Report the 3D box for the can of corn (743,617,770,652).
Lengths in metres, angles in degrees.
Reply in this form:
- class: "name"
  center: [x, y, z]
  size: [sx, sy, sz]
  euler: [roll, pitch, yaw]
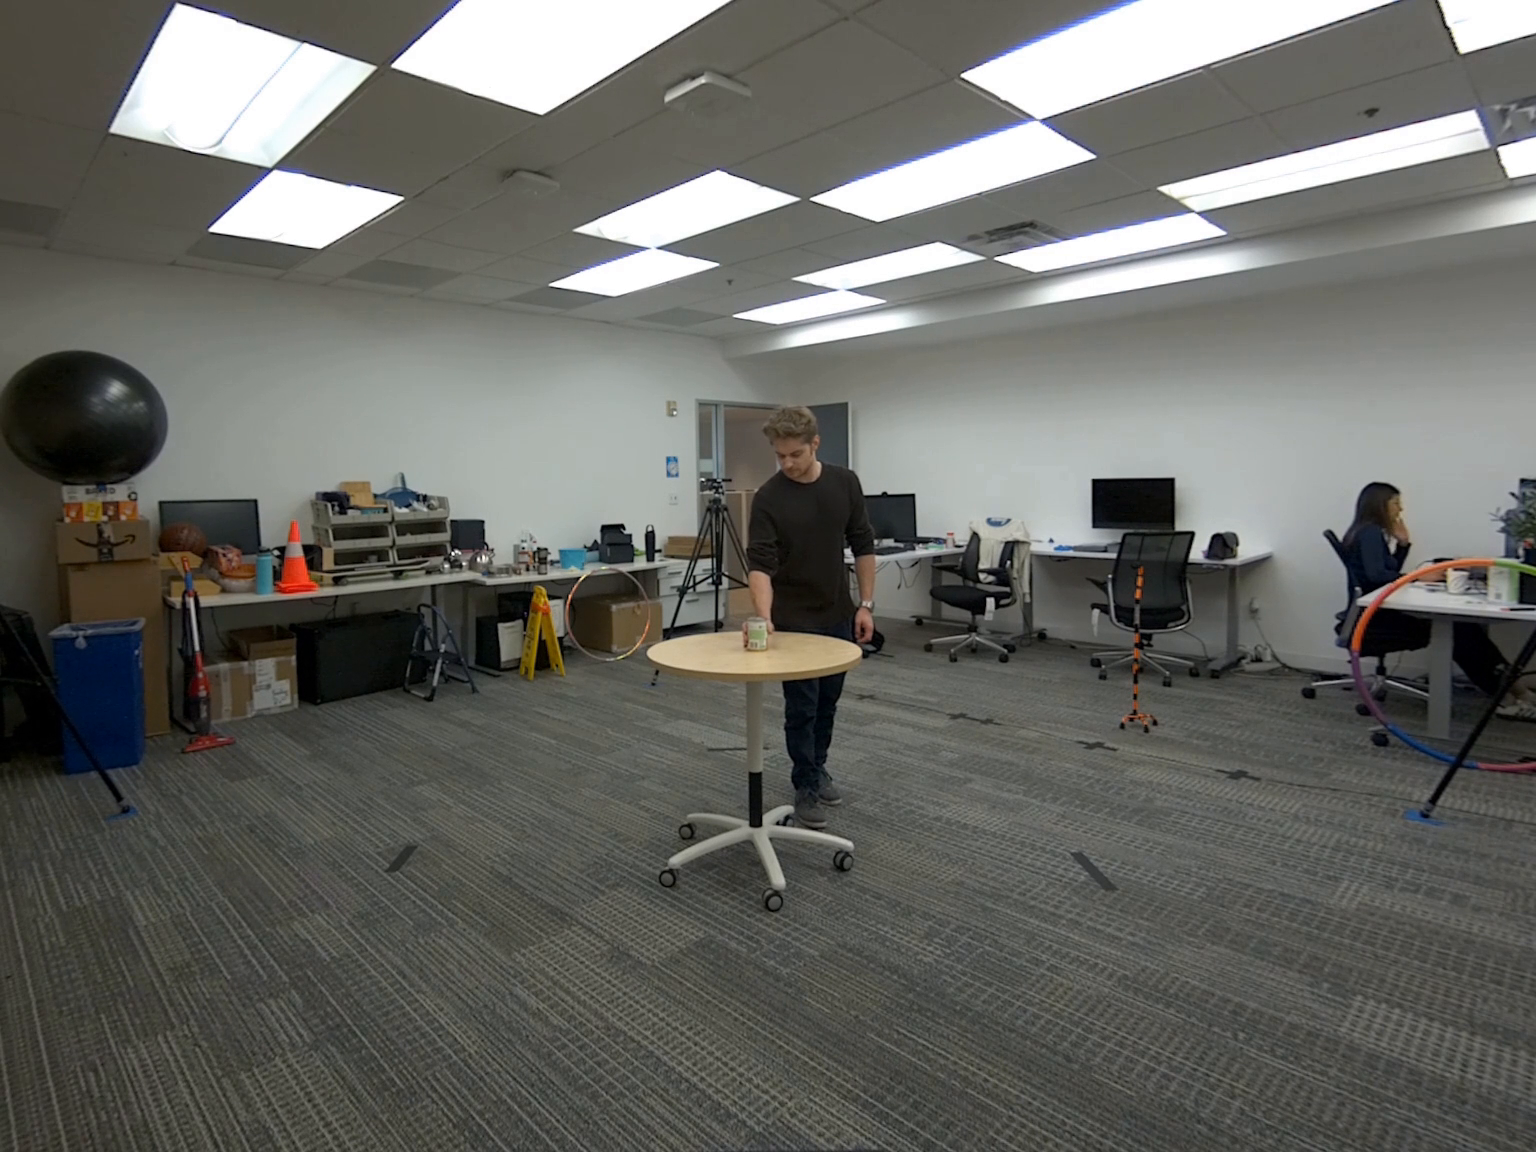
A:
- class: "can of corn"
  center: [-0.043, 0.211, 3.050]
  size: [0.074, 0.110, 0.074]
  euler: [-2, 5, -1]
